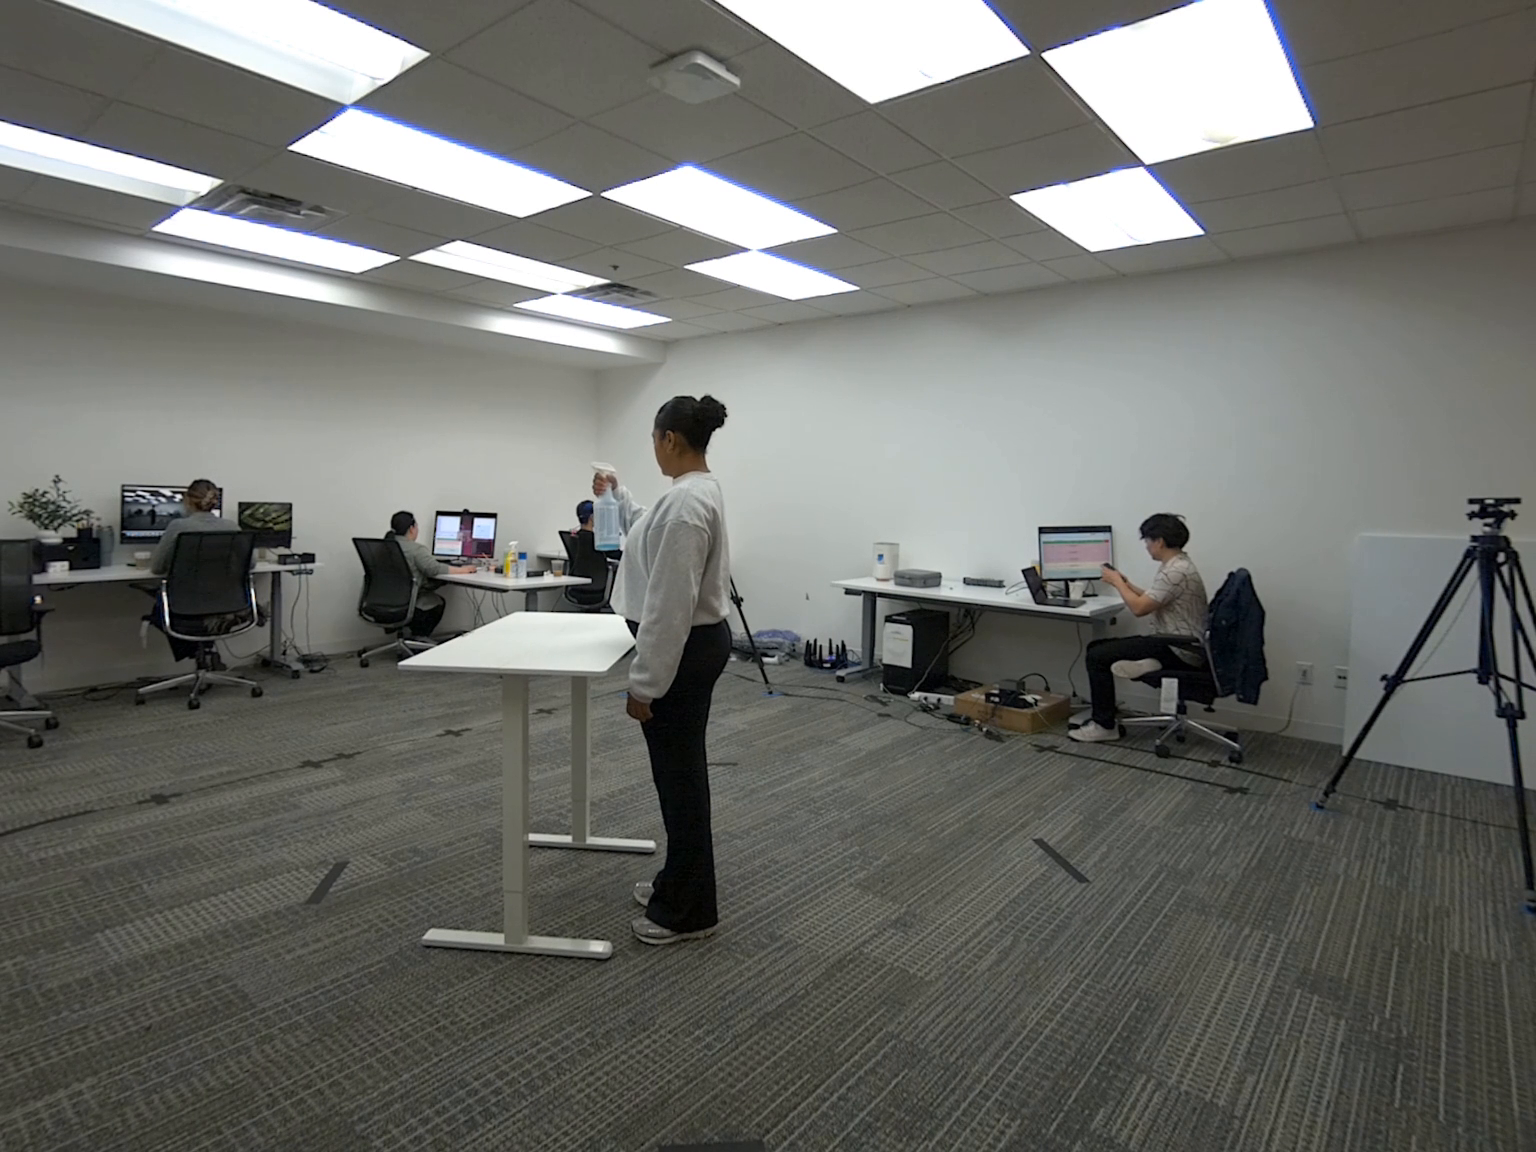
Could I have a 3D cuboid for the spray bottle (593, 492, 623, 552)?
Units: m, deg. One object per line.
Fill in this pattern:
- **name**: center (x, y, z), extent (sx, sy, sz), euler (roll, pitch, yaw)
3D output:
- **spray bottle**: center (-0.562, -0.236, 2.905), extent (0.089, 0.298, 0.087), euler (-3, -4, -6)
